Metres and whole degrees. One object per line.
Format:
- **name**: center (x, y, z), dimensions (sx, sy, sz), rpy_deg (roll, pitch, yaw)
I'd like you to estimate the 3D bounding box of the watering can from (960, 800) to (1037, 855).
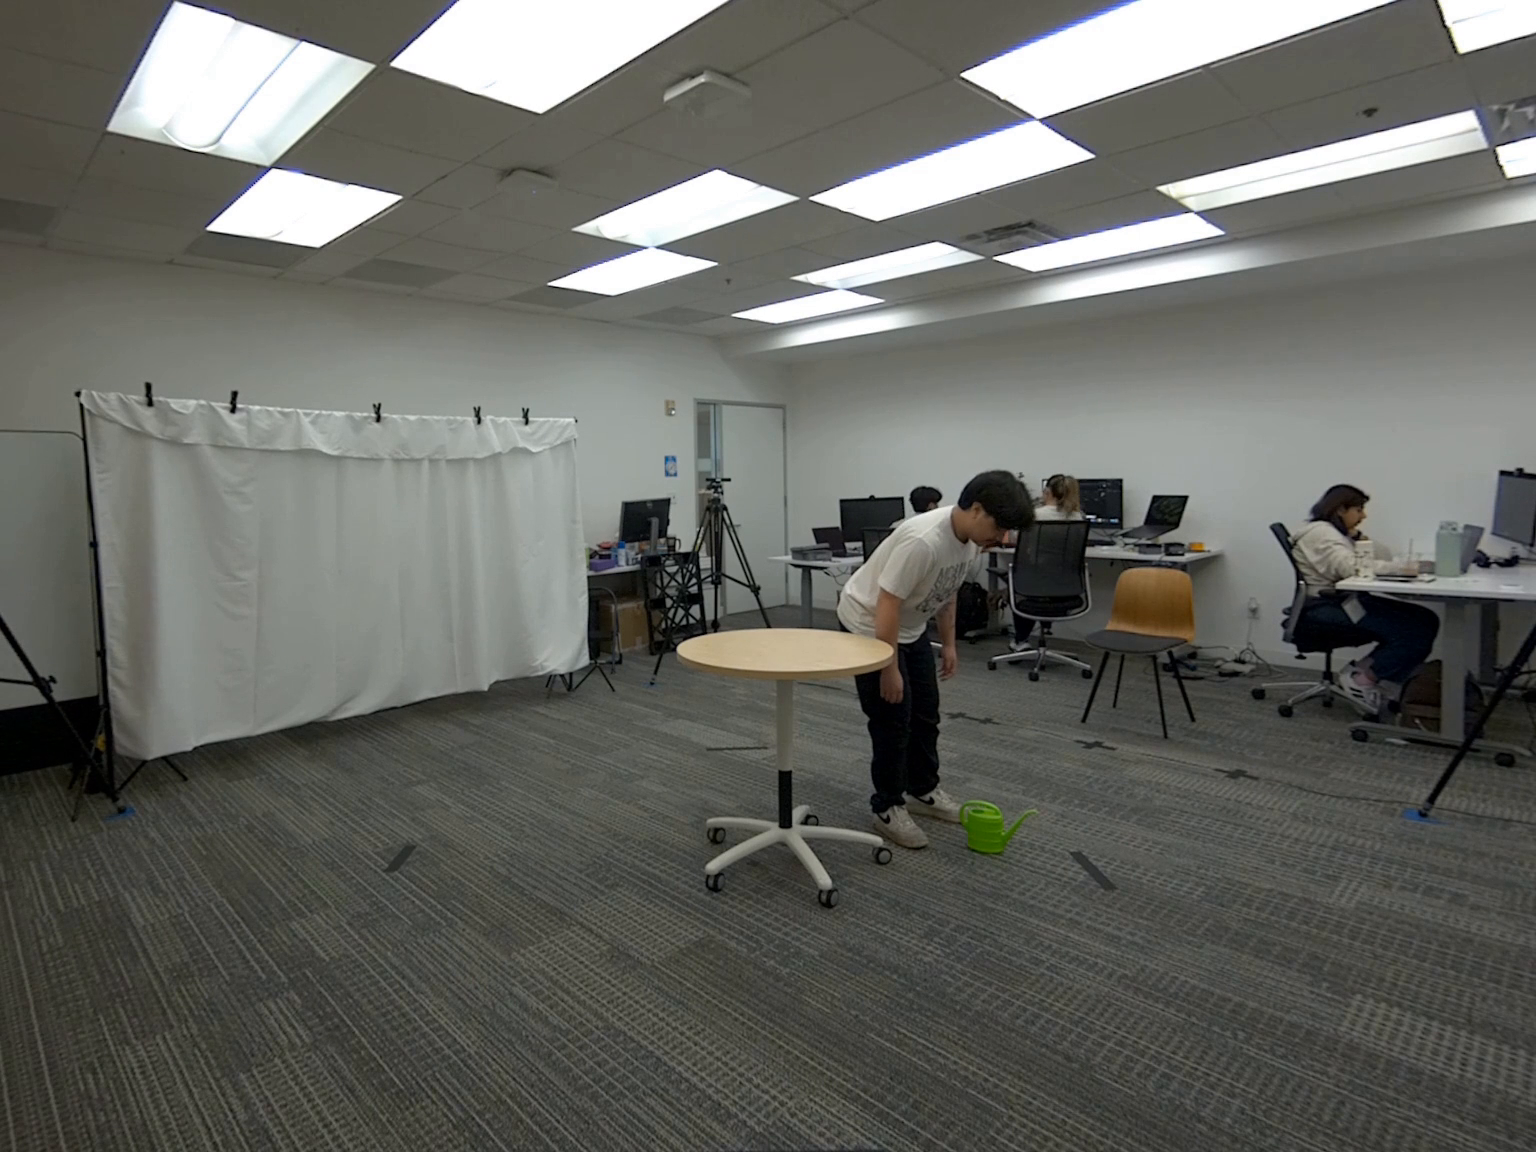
- **watering can**: center (0.860, 0.938, 3.158), dimensions (0.286, 0.176, 0.095), rpy_deg (2, 6, 39)
